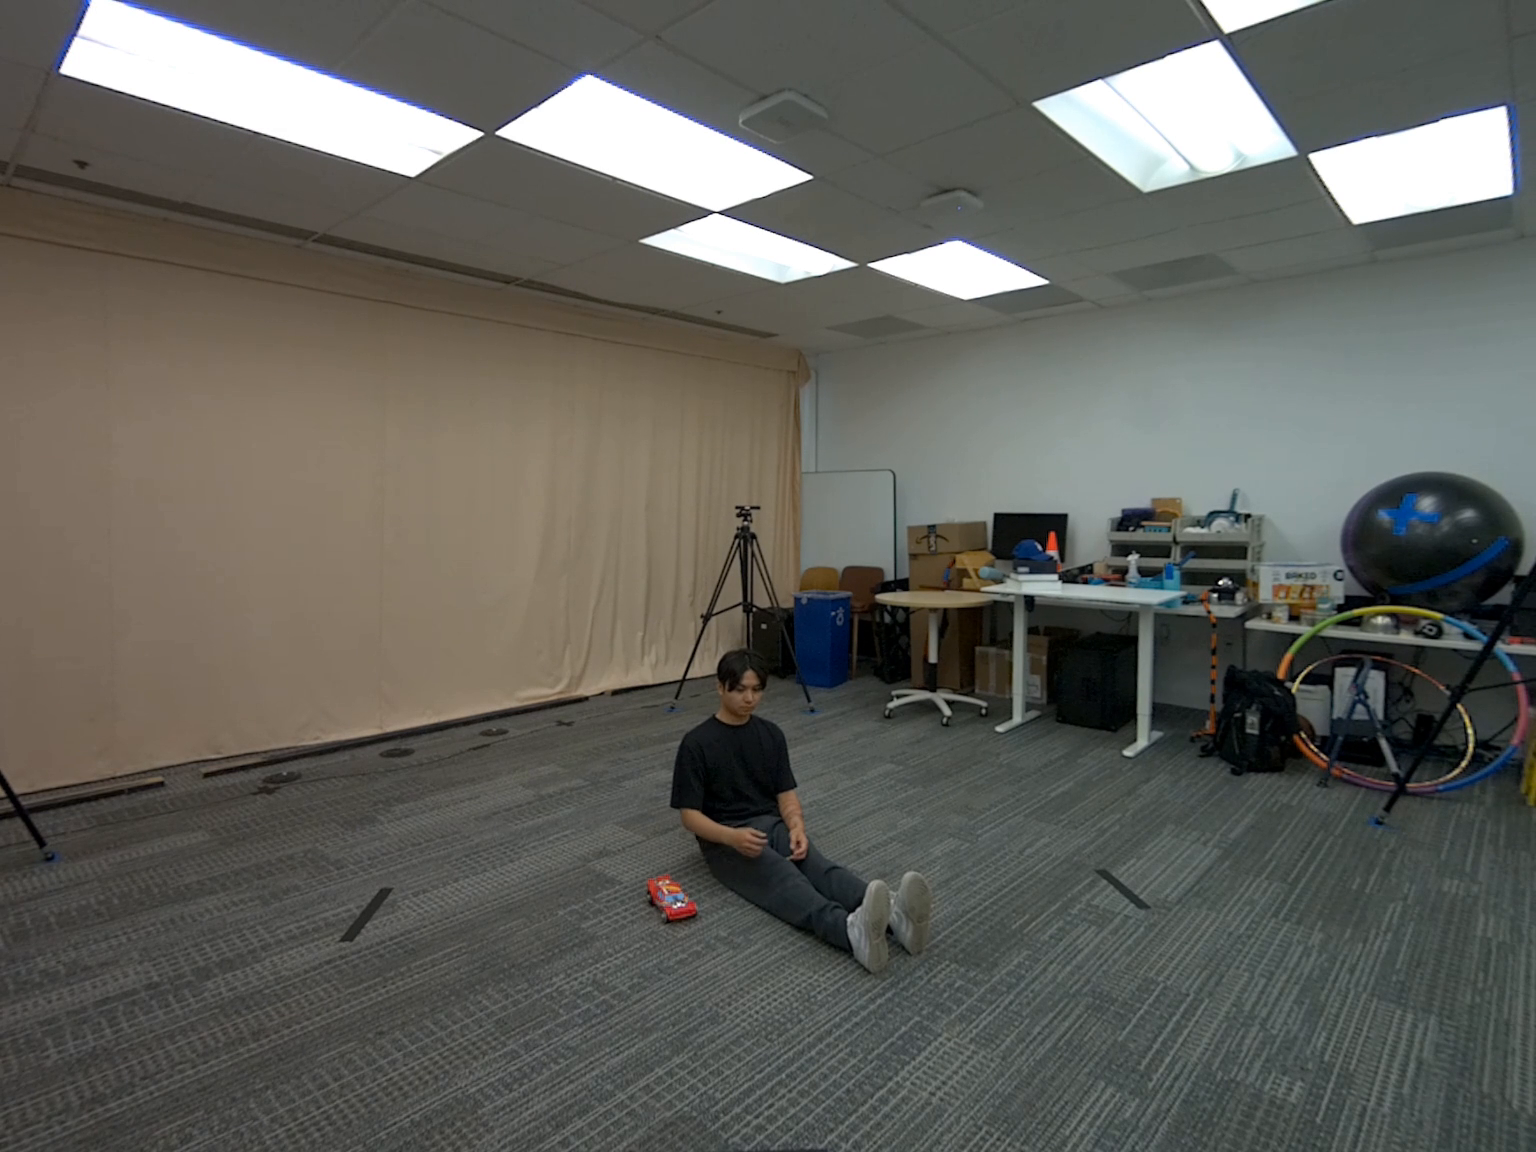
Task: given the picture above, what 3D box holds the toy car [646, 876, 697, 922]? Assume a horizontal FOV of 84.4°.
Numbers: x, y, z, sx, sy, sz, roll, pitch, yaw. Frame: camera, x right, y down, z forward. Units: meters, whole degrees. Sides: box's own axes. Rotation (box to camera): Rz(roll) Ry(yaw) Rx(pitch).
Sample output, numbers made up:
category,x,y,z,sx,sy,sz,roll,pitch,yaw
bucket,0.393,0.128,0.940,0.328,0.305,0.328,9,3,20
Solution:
category,x,y,z,sx,sy,sz,roll,pitch,yaw
toy car,-0.348,1.123,2.920,0.127,0.082,0.262,-3,14,-25
